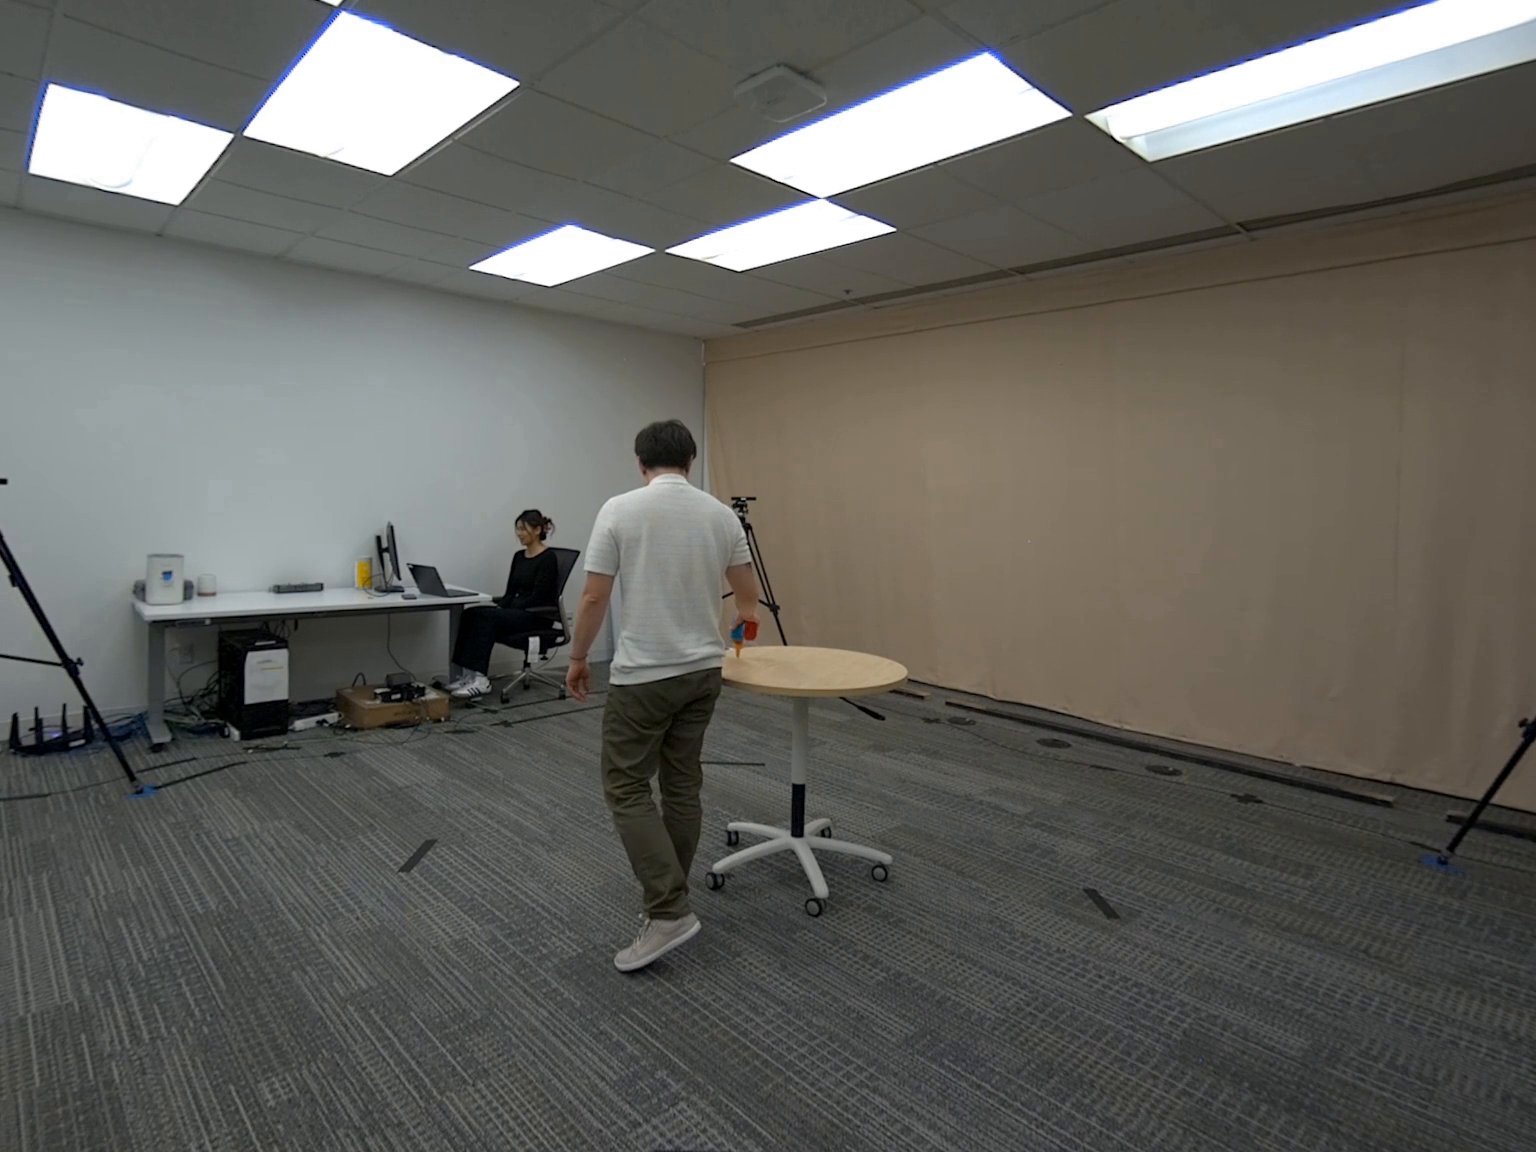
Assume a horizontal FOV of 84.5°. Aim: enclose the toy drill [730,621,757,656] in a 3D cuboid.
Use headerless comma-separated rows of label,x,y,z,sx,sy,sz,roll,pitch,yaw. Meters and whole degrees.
toy drill,-0.099,0.232,3.147,0.060,0.169,0.148,4,6,-17
